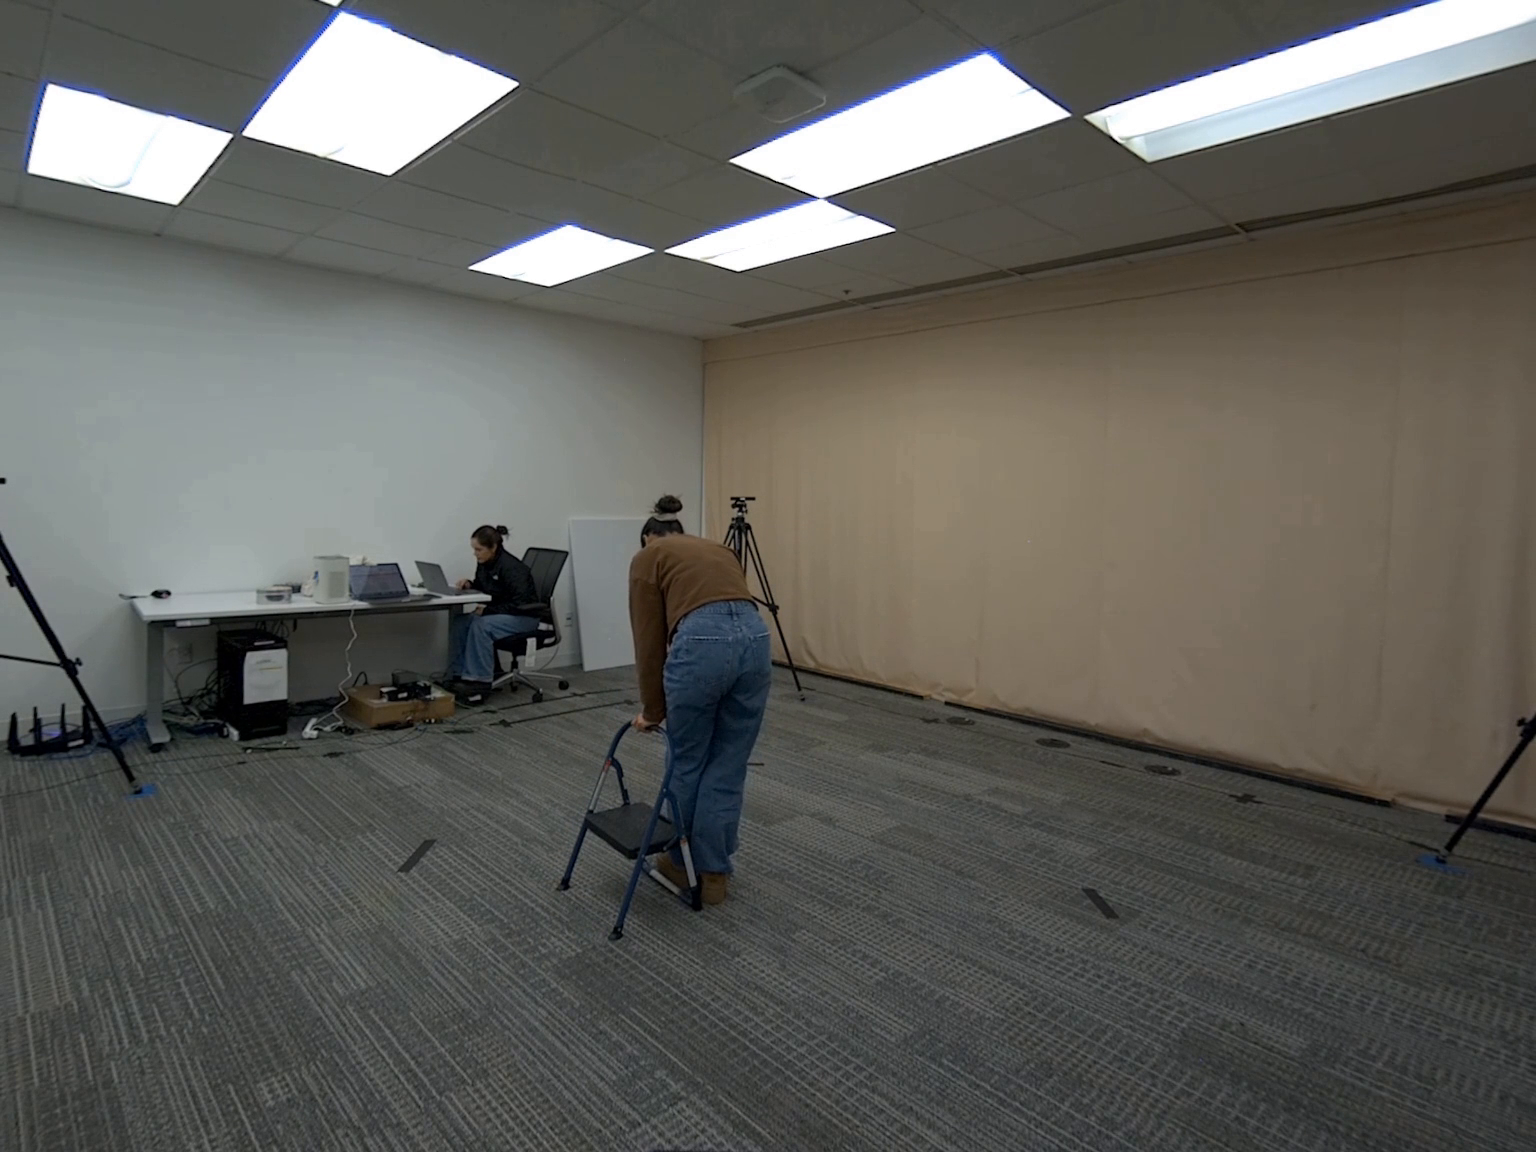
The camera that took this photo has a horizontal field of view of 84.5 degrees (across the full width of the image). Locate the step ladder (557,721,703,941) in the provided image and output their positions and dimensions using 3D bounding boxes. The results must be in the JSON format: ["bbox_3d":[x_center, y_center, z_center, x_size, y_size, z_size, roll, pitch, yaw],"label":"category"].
[{"bbox_3d":[-0.479,0.815,2.884,0.341,0.605,0.441,0,4,-37],"label":"step ladder"}]
